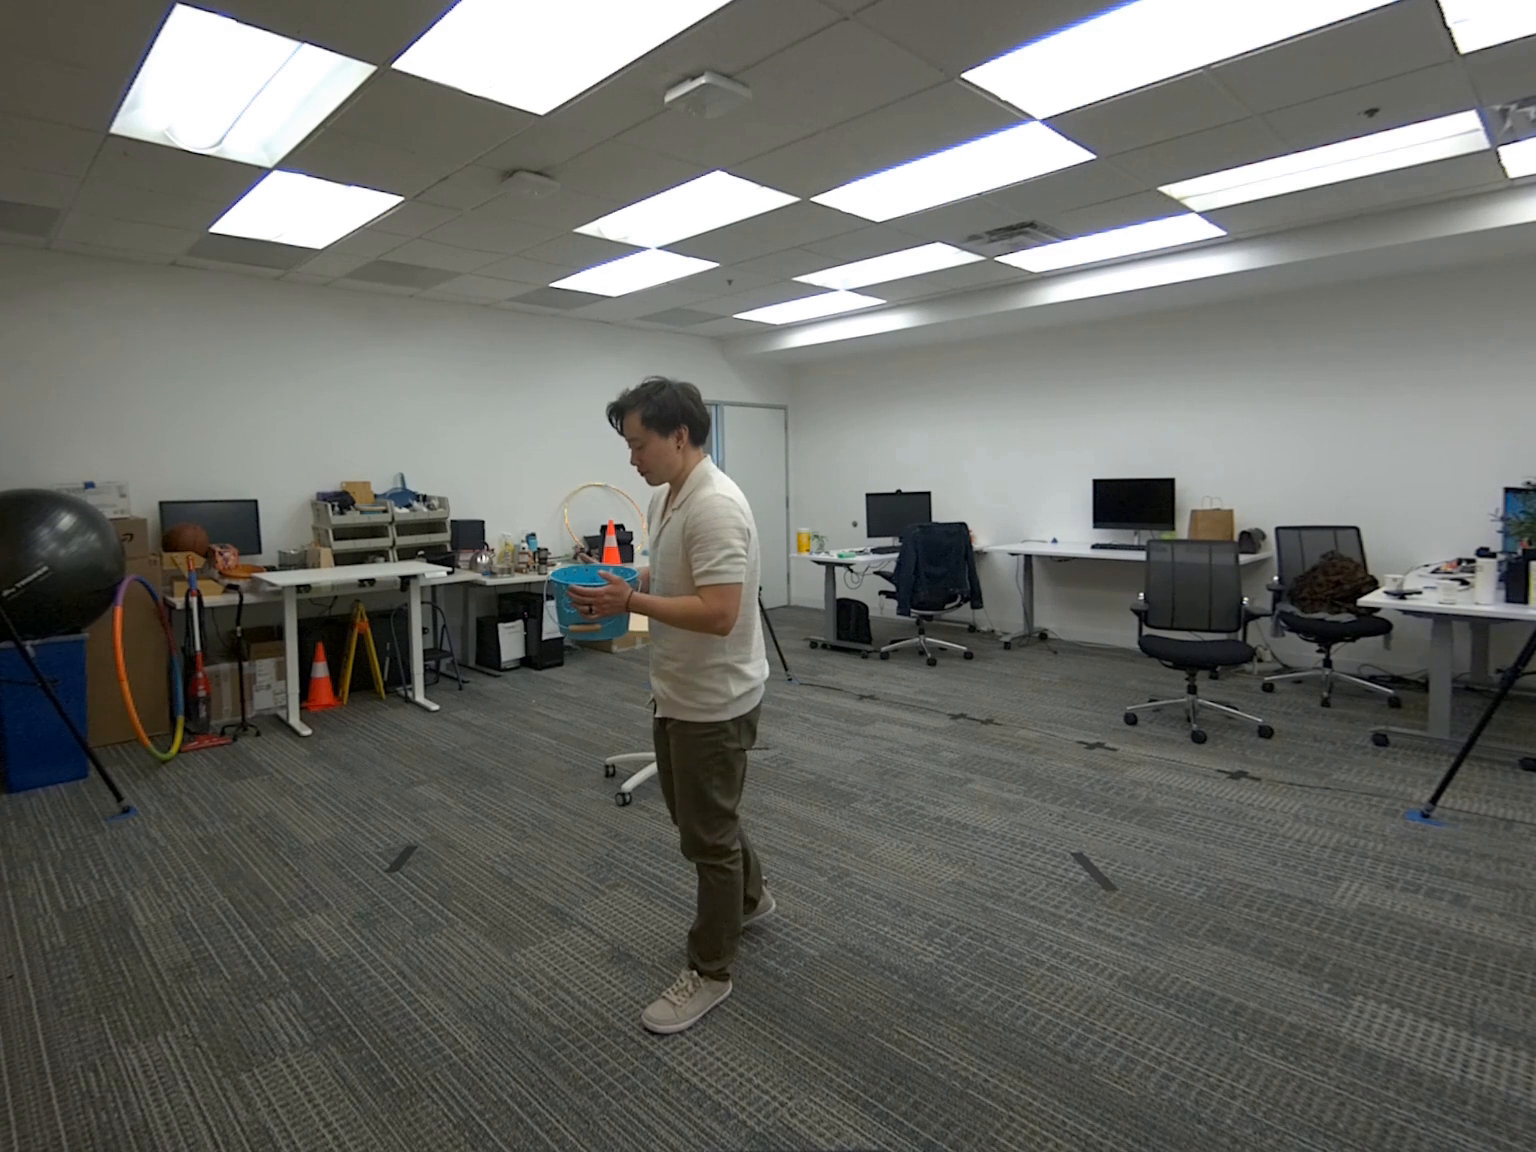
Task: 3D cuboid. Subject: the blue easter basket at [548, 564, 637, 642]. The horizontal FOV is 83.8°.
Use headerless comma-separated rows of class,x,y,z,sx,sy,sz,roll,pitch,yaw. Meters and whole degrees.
blue easter basket,-0.441,0.072,2.202,0.243,0.154,0.246,0,10,-2
